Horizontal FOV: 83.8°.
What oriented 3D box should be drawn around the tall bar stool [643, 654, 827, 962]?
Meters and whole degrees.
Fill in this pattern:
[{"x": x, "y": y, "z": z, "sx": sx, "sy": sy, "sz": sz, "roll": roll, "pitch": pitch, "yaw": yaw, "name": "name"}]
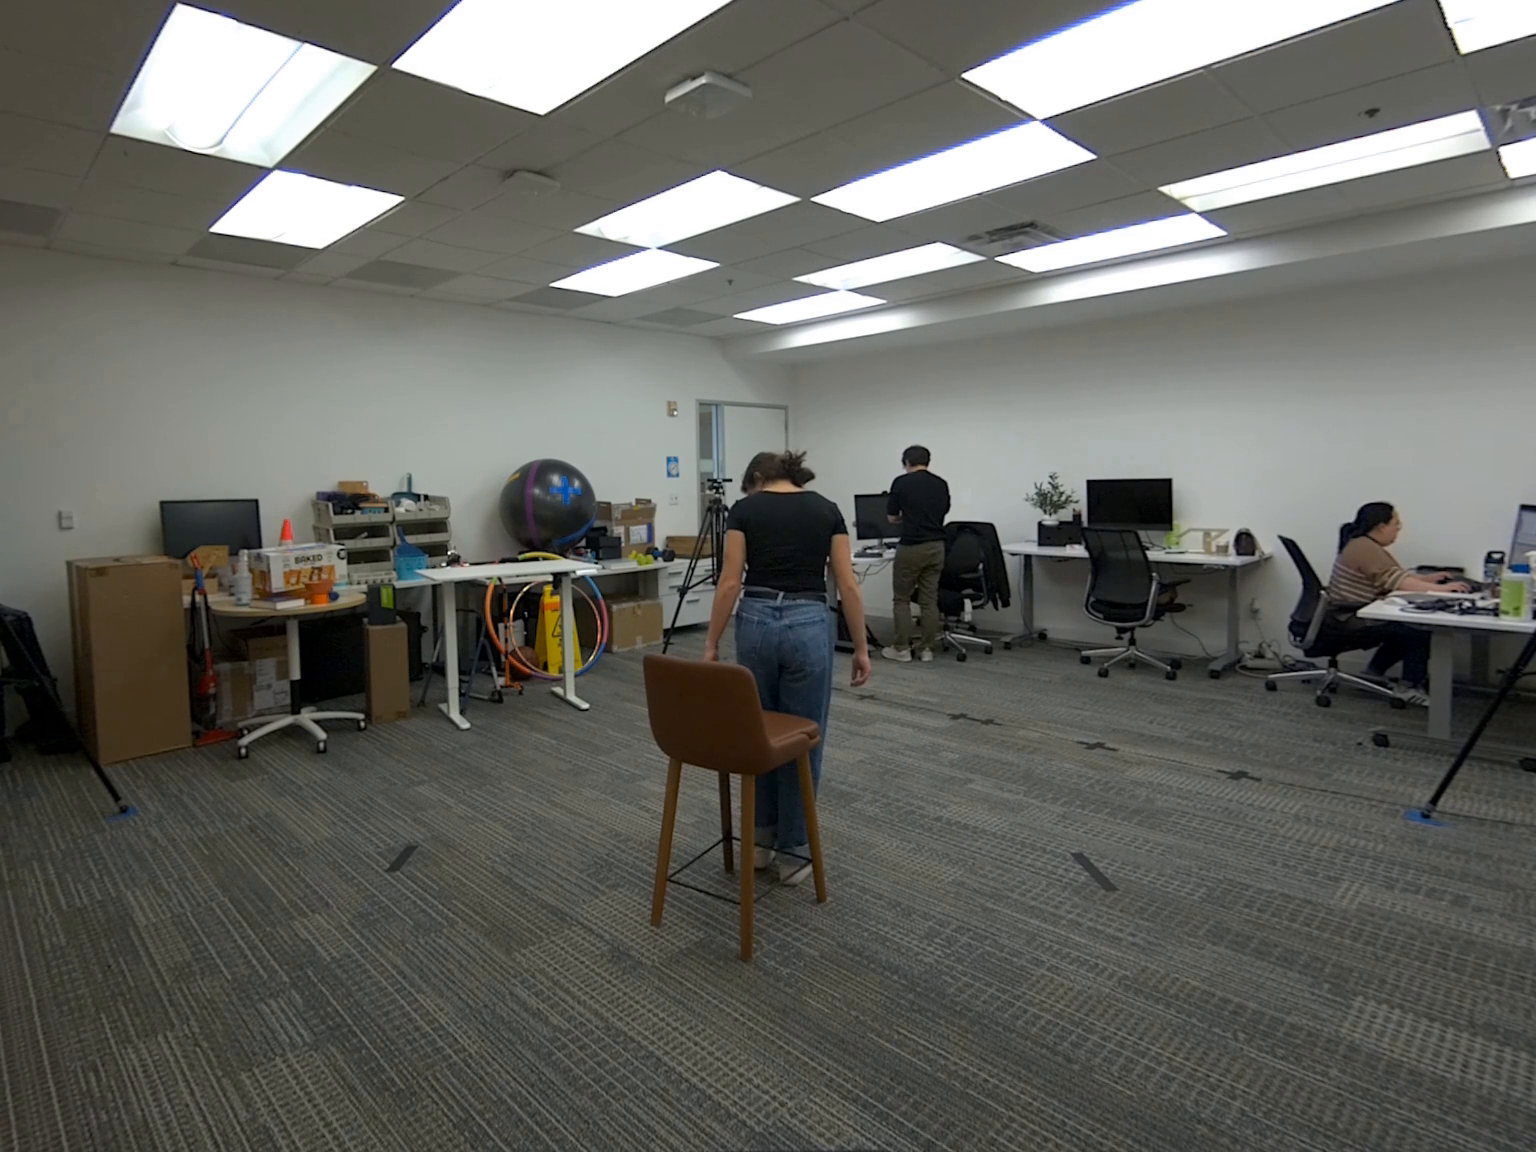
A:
[{"x": -0.106, "y": 0.657, "z": 2.727, "sx": 0.469, "sy": 0.885, "sz": 0.457, "roll": 2, "pitch": 7, "yaw": 35, "name": "tall bar stool"}]
